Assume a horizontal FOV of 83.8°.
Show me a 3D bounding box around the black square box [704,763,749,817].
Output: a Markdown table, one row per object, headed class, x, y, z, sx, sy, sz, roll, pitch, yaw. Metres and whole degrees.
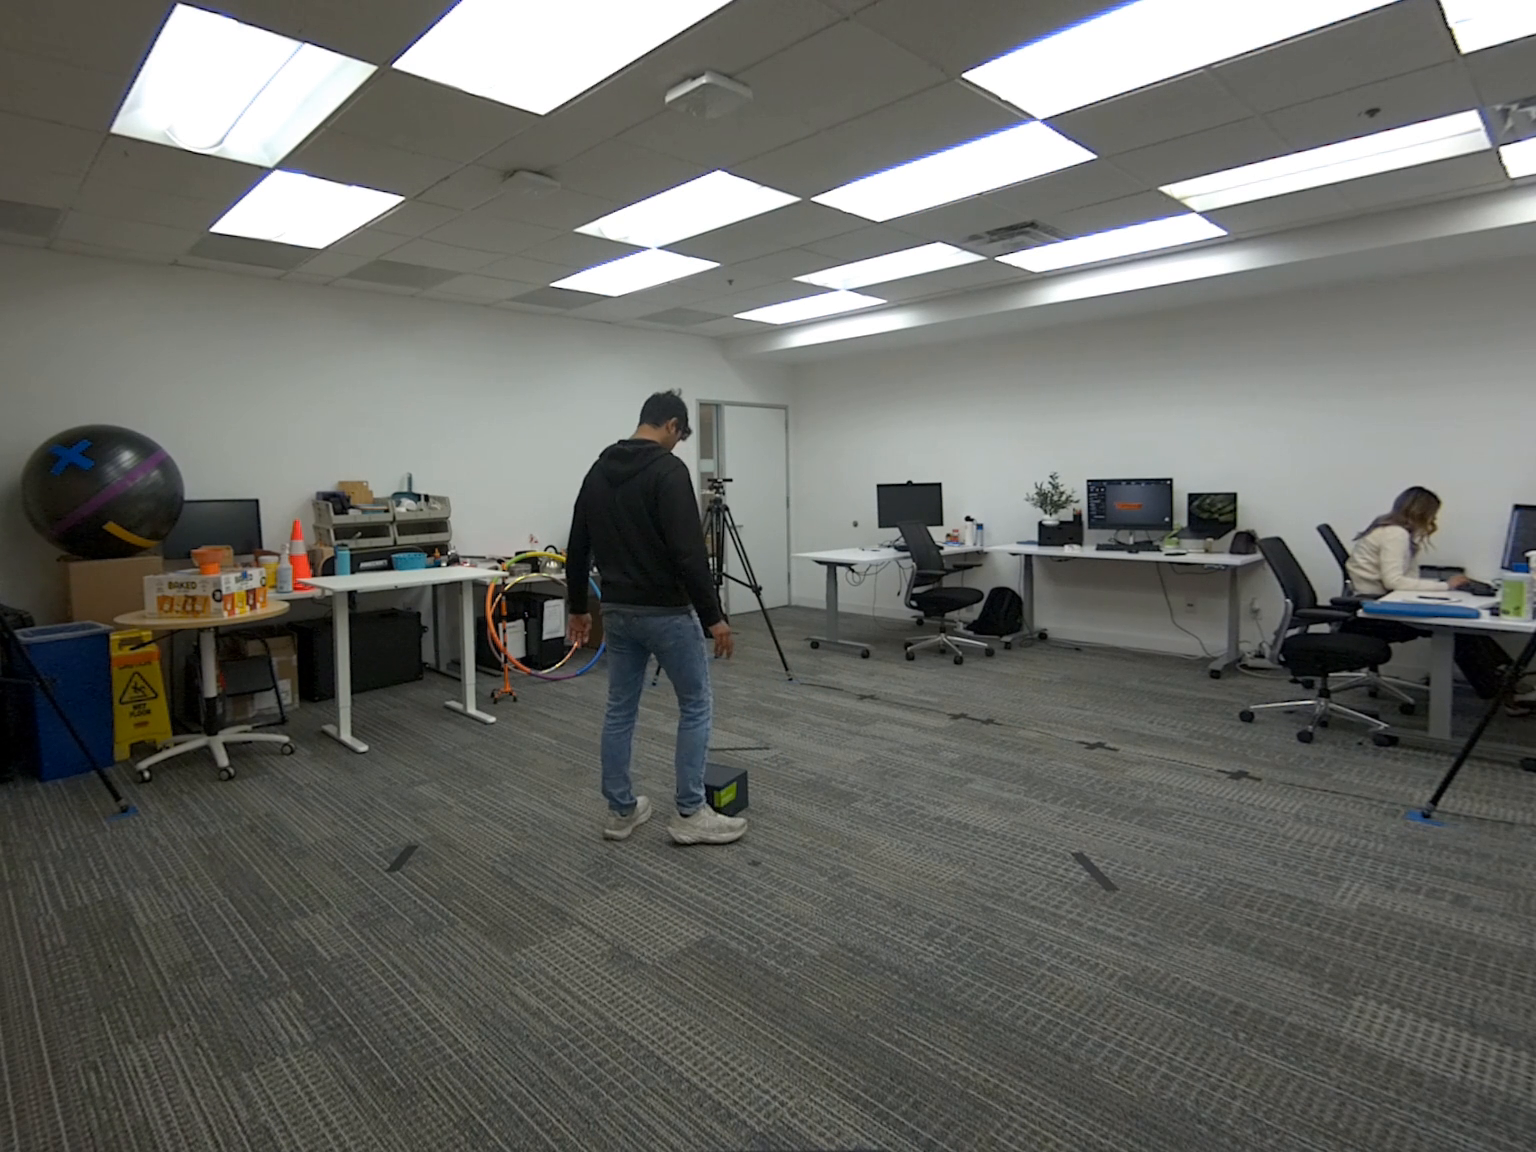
| class | x | y | z | sx | sy | sz | roll | pitch | yaw |
| --- | --- | --- | --- | --- | --- | --- | --- | --- | --- |
| black square box | -0.239 | 0.906 | 3.613 | 0.222 | 0.155 | 0.223 | 2 | 6 | 29 |
